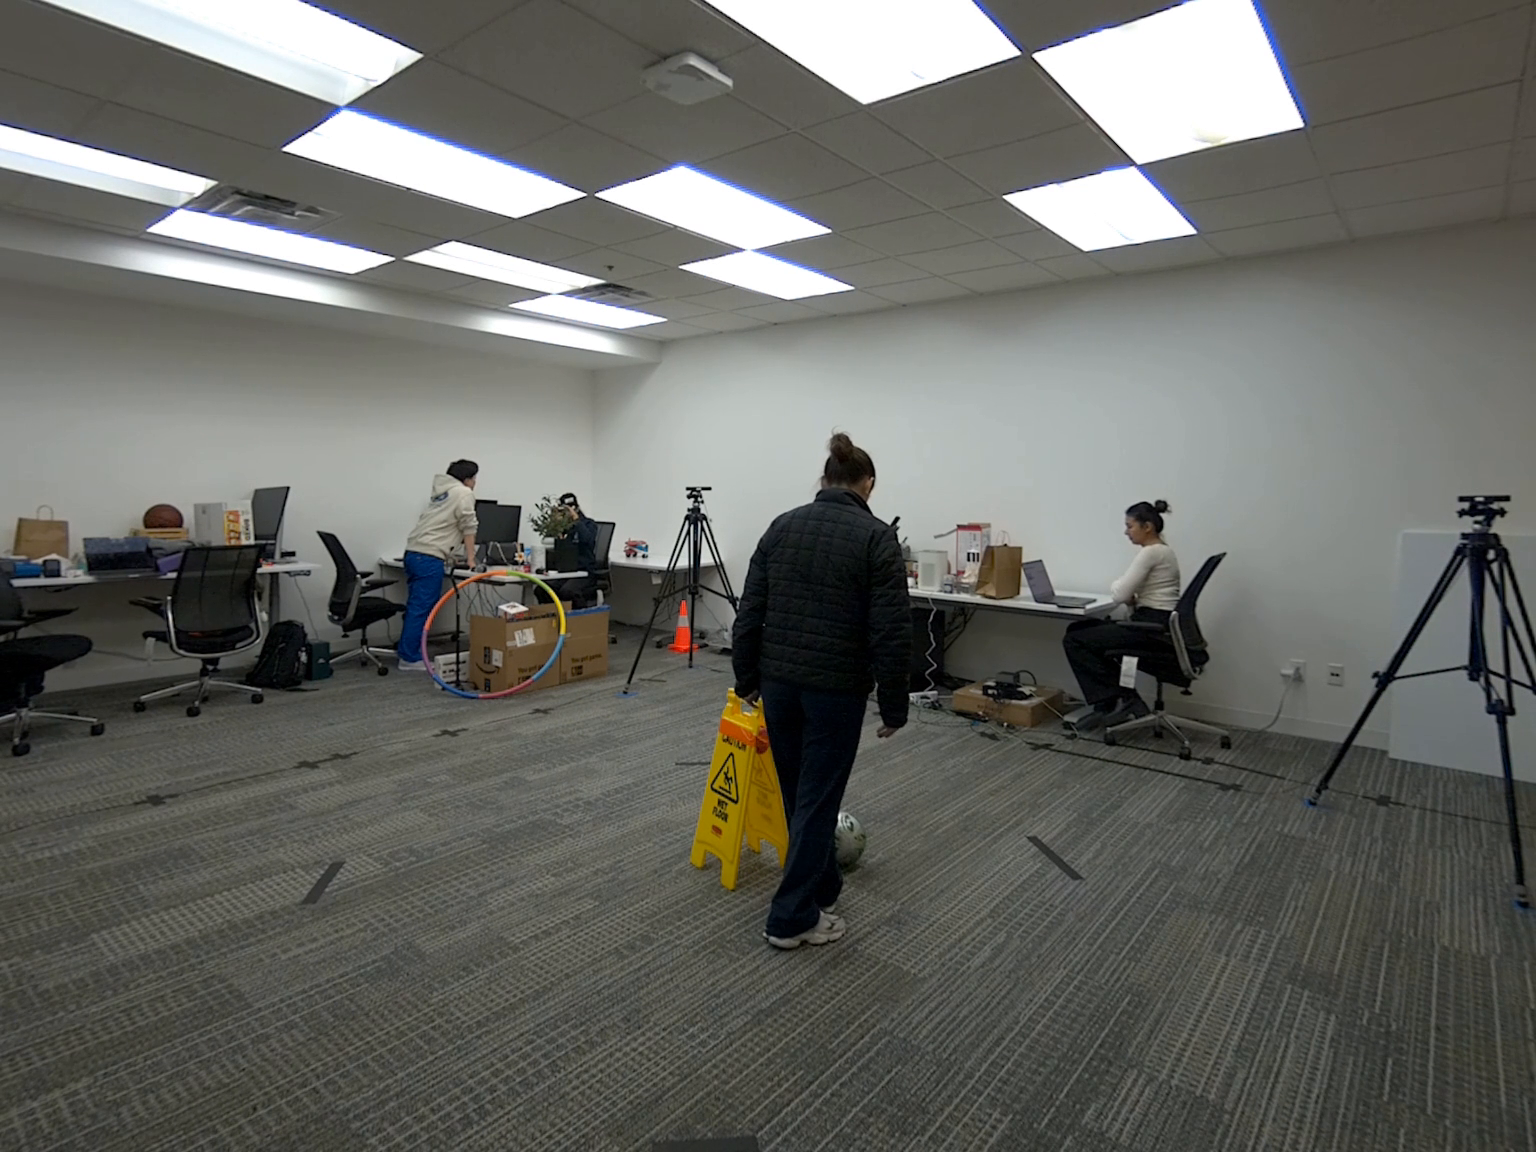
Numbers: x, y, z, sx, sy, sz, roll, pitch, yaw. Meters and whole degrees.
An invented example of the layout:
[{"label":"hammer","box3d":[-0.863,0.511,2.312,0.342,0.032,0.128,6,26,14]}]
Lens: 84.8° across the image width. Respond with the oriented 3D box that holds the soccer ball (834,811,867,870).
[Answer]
[{"label":"soccer ball","box3d":[0.263,0.976,3.164,0.187,0.187,0.188,1,4,-2]}]
